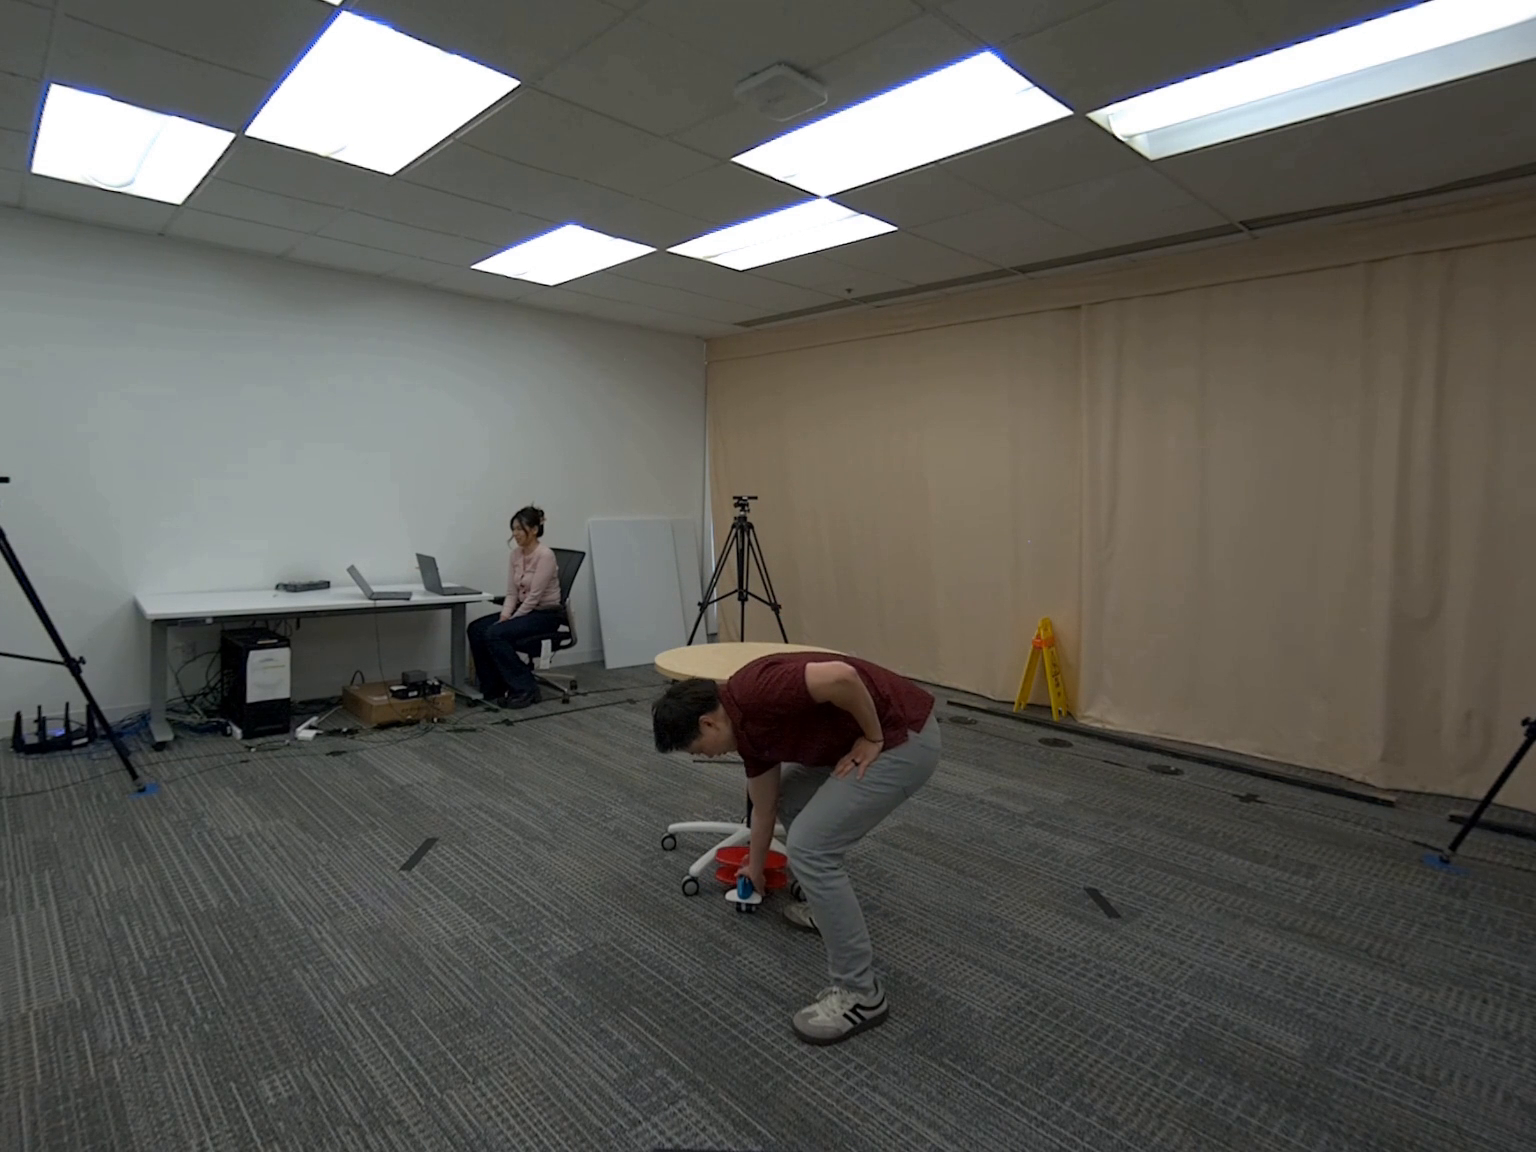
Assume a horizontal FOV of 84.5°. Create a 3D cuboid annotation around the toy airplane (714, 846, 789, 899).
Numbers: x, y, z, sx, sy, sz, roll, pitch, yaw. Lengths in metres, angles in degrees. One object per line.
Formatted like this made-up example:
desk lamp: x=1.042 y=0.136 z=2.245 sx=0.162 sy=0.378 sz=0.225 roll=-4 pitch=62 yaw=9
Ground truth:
toy airplane: x=-0.064 y=1.052 z=2.909 sx=0.247 sy=0.156 sz=0.263 roll=-1 pitch=5 yaw=-19
